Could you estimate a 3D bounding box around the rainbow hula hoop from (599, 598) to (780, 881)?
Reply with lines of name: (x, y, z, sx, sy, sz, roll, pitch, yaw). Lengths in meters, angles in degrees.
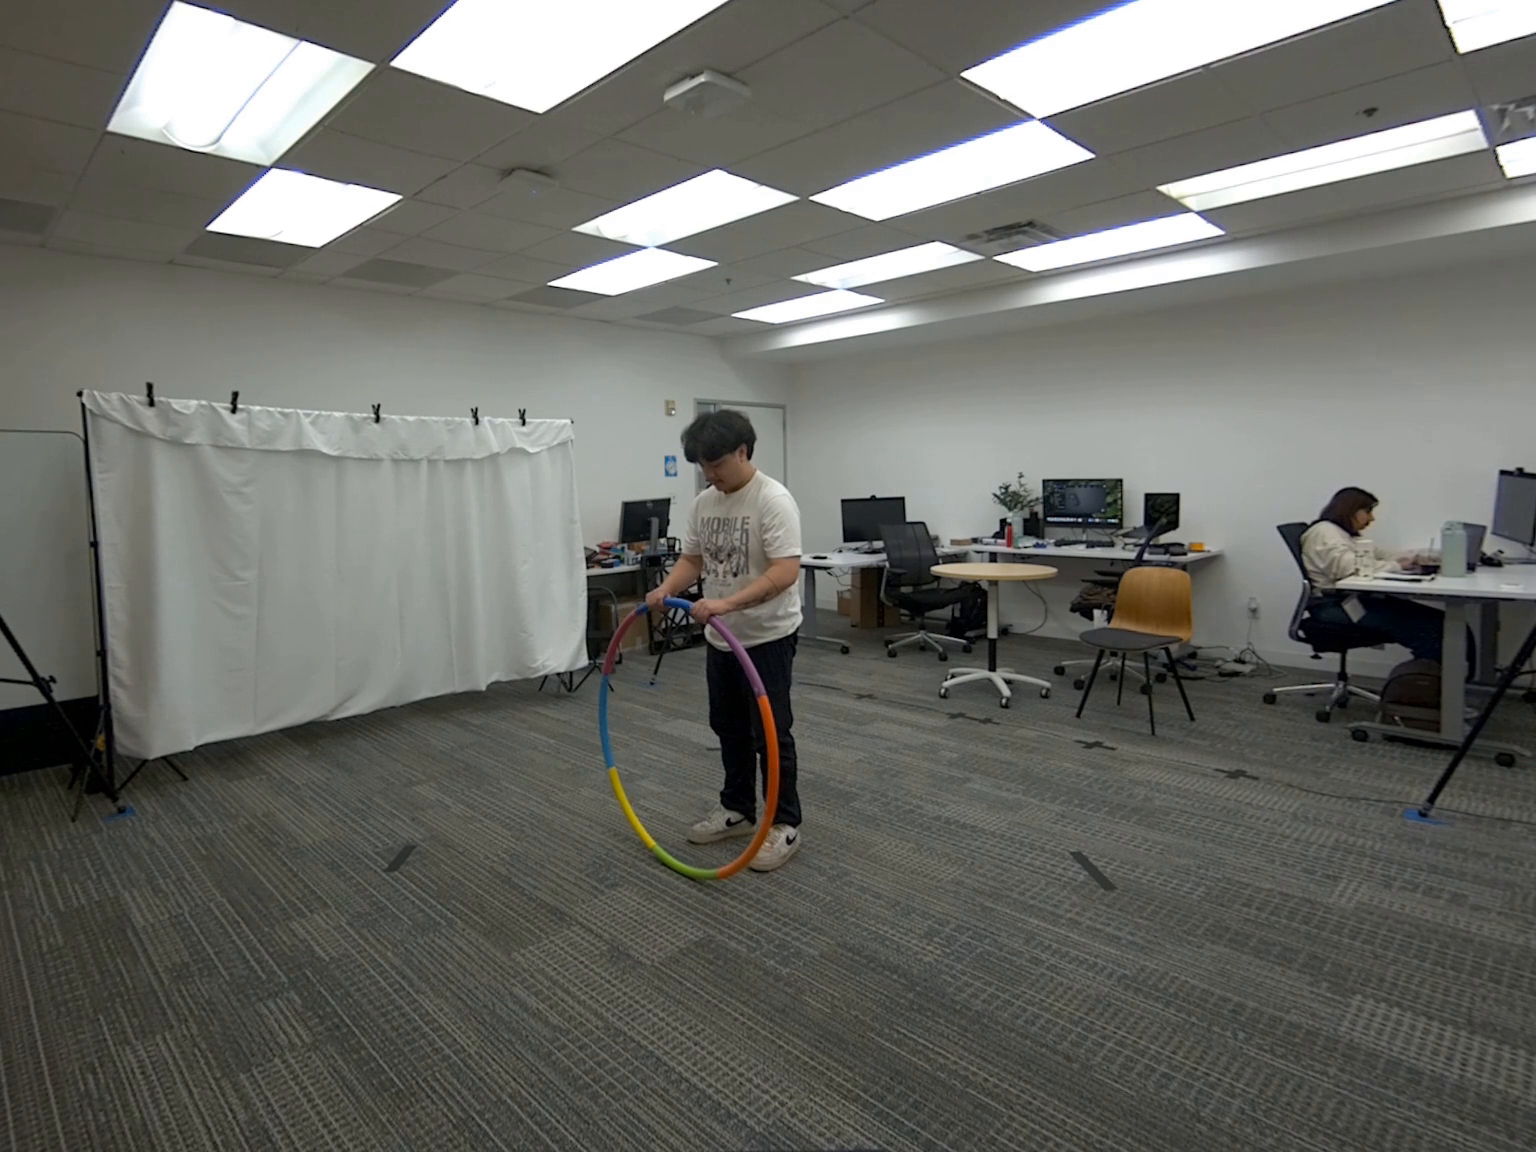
rainbow hula hoop: (-0.315, 0.566, 3.016, 0.050, 0.982, 1.016, -2, 5, -42)
